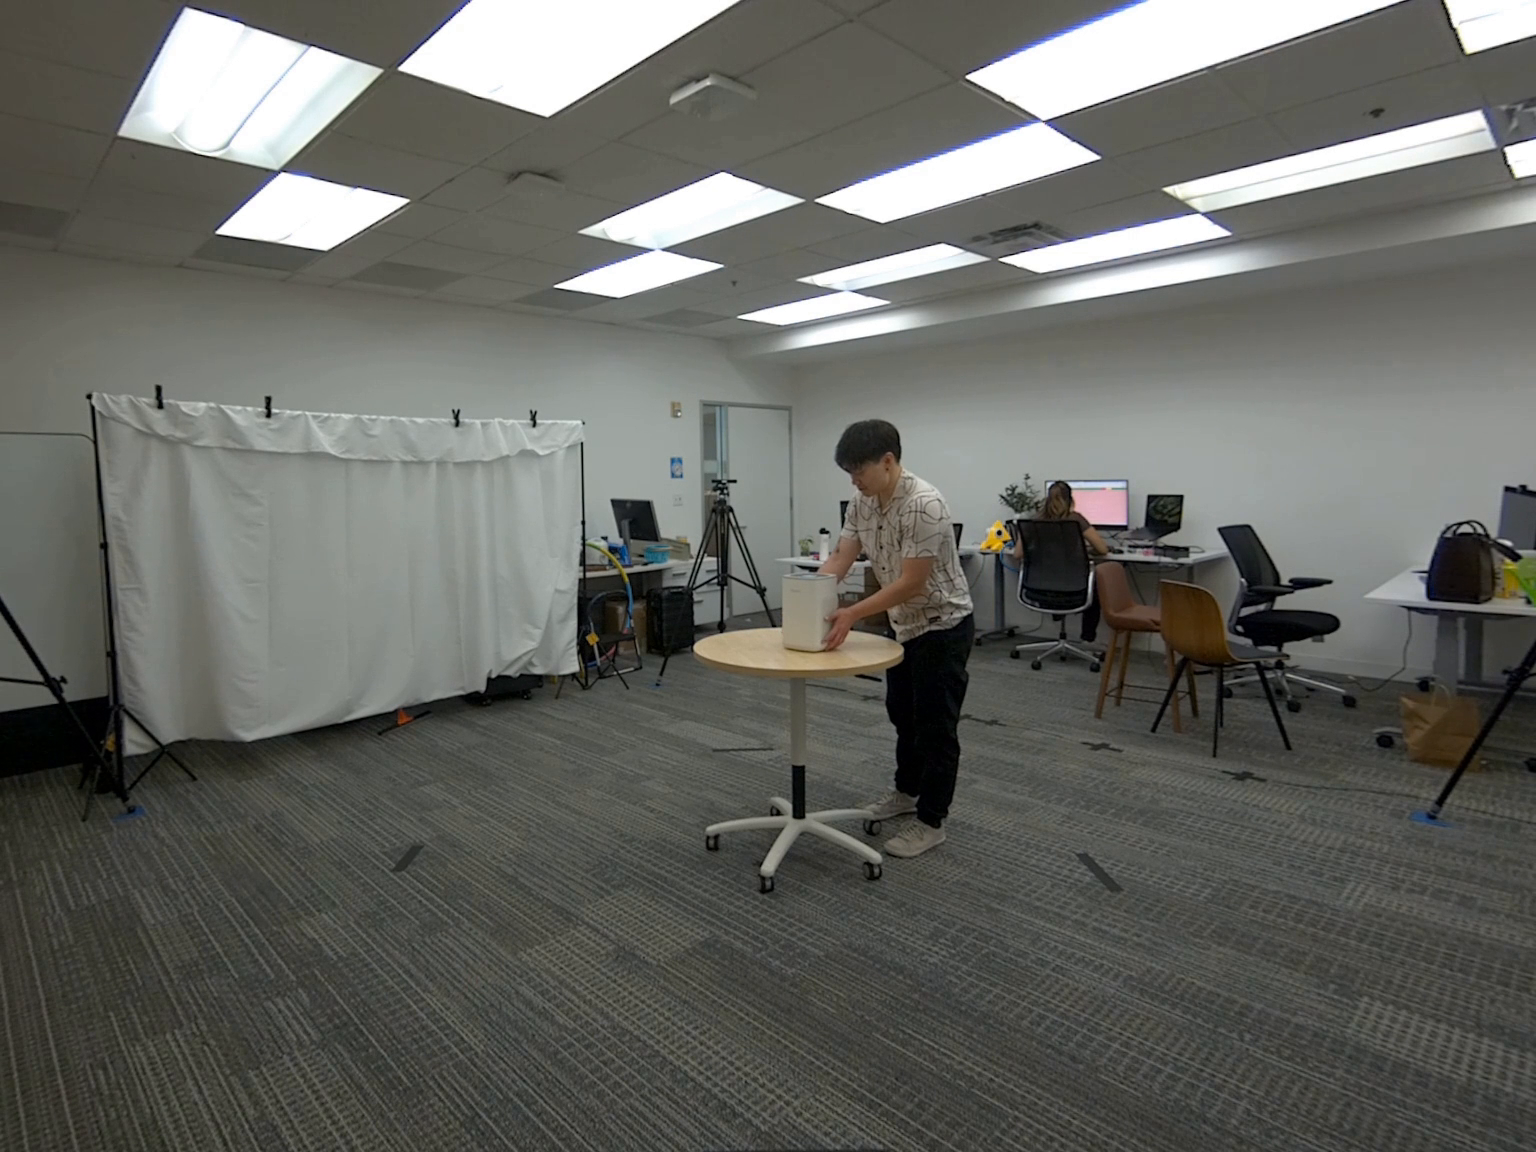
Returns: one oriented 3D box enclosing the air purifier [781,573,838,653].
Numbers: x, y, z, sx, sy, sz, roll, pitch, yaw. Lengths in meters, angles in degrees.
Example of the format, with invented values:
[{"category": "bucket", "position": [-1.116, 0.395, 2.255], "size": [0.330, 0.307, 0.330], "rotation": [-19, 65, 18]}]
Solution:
[{"category": "air purifier", "position": [0.156, 0.128, 3.091], "size": [0.176, 0.264, 0.167], "rotation": [3, 6, 38]}]
